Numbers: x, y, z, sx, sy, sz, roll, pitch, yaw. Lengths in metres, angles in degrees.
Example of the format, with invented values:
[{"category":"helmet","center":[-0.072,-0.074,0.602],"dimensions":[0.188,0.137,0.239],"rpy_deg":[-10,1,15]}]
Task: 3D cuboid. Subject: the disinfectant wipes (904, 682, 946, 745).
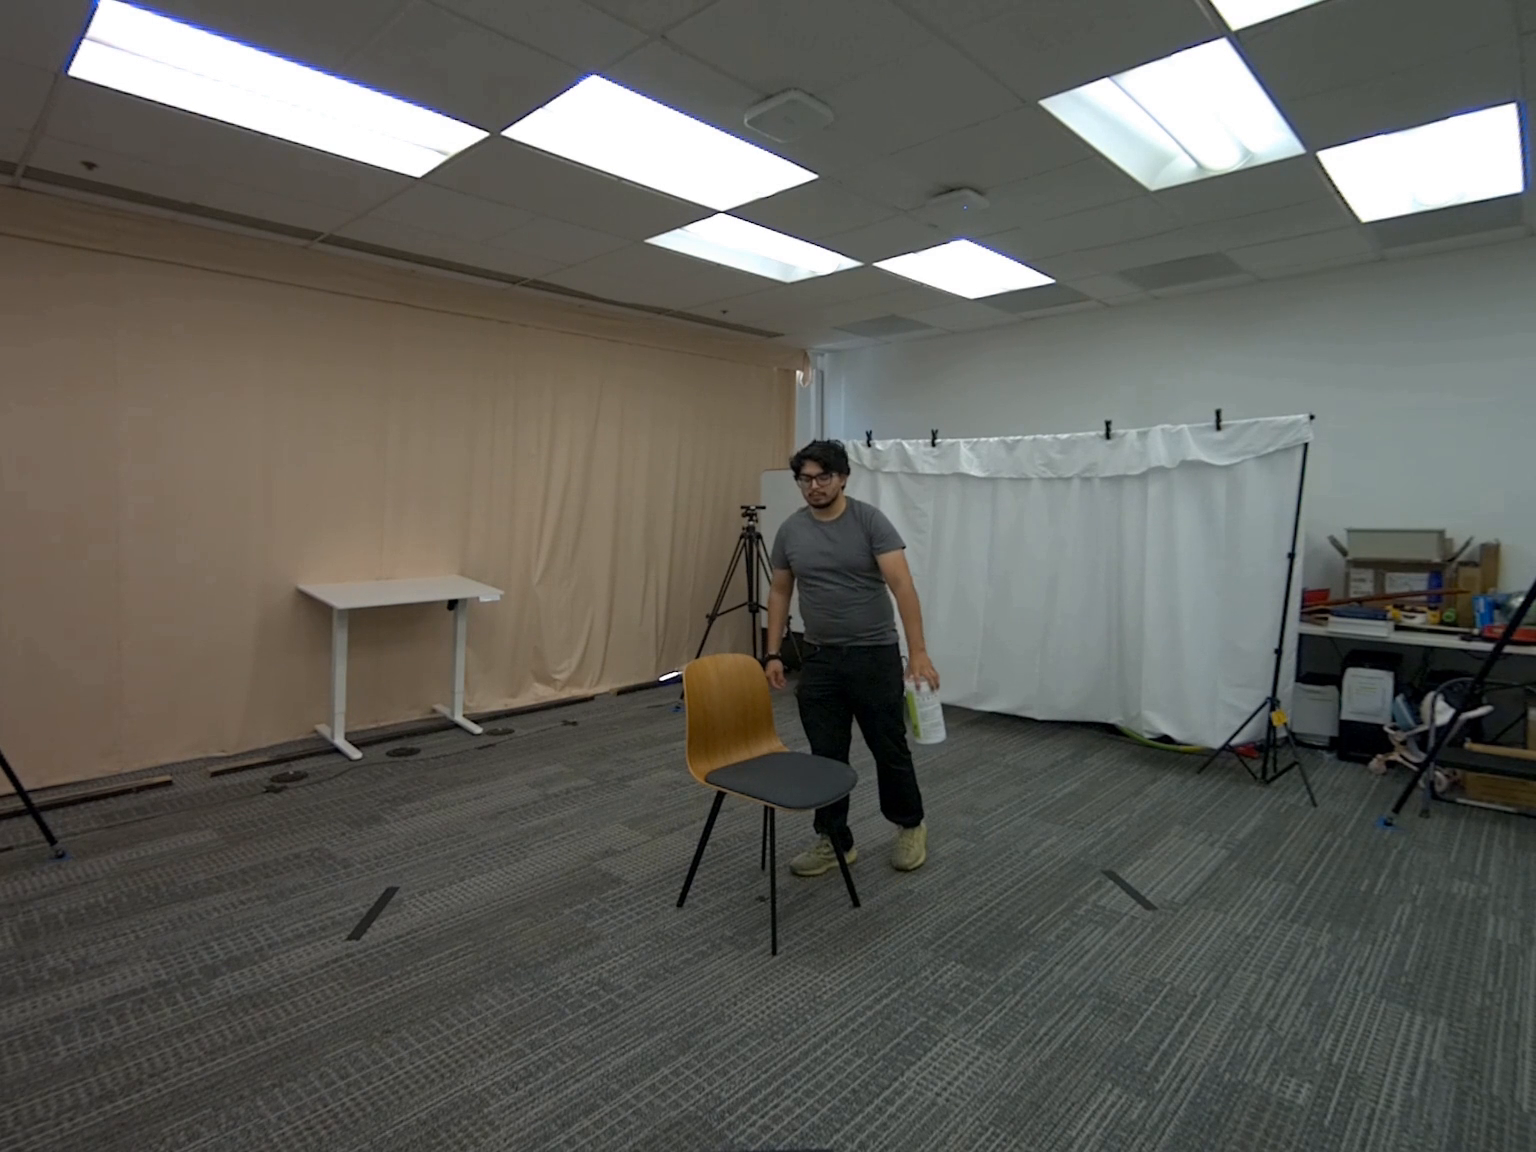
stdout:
[{"category":"disinfectant wipes","center":[0.536,0.459,2.890],"dimensions":[0.118,0.217,0.118],"rpy_deg":[-10,4,-1]}]
